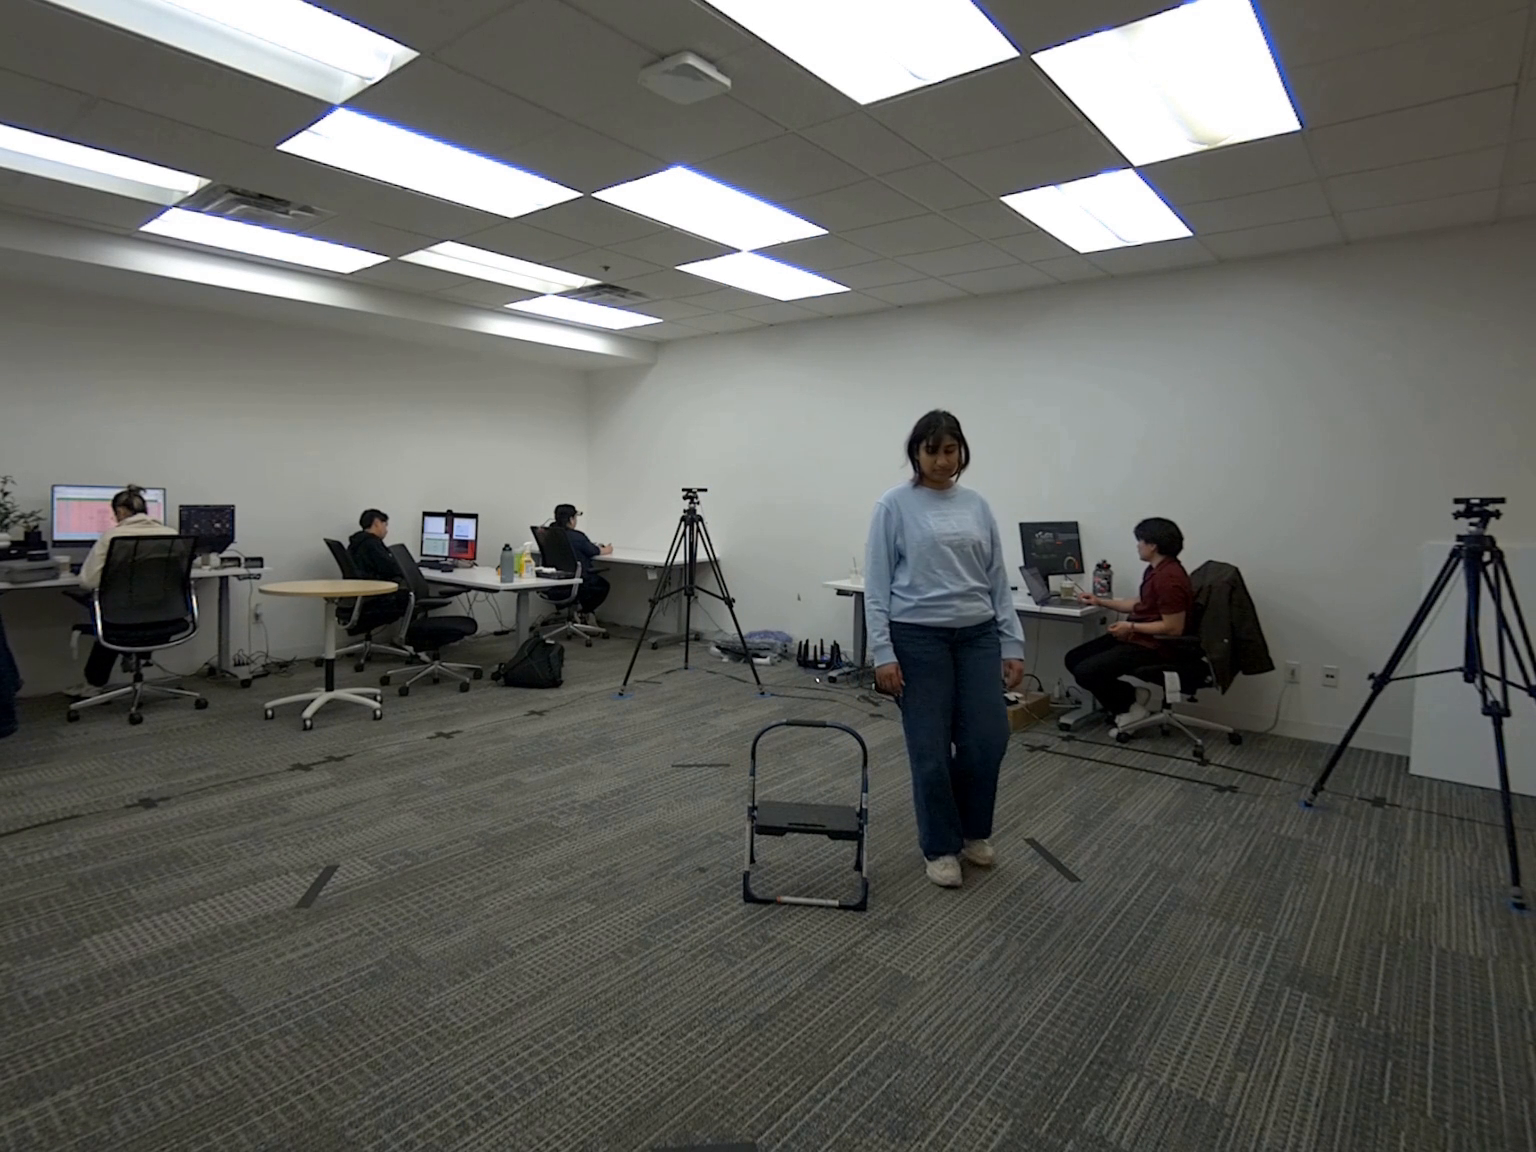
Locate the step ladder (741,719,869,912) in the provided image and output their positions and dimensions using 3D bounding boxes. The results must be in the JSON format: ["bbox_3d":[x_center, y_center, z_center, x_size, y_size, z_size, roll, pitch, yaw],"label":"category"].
[{"bbox_3d":[0.129,0.786,2.993,0.433,0.604,0.348,1,3,4],"label":"step ladder"}]
